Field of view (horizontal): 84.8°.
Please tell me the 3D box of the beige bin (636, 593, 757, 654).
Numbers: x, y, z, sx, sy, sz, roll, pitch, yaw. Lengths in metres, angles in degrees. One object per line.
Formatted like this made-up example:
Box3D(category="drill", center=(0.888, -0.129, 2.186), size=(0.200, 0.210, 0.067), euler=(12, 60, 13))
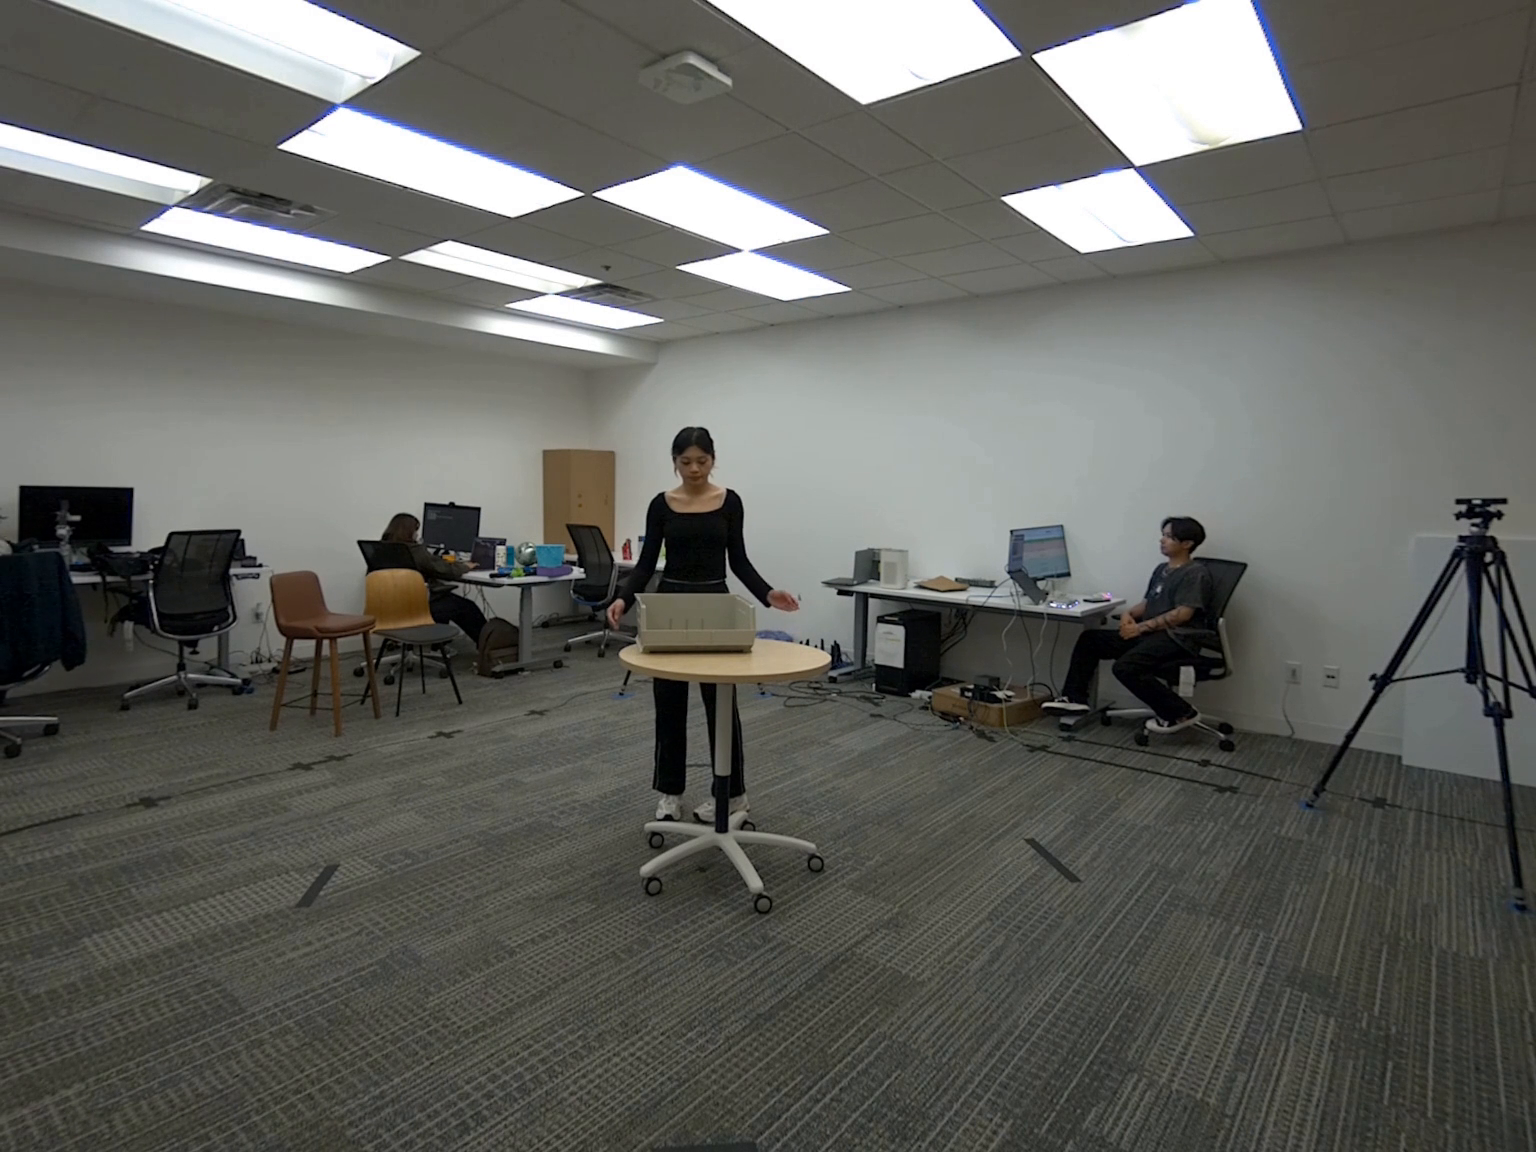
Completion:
Box3D(category="beige bin", center=(-0.292, 0.176, 3.227), size=(0.418, 0.188, 0.382), euler=(0, 4, -11))
